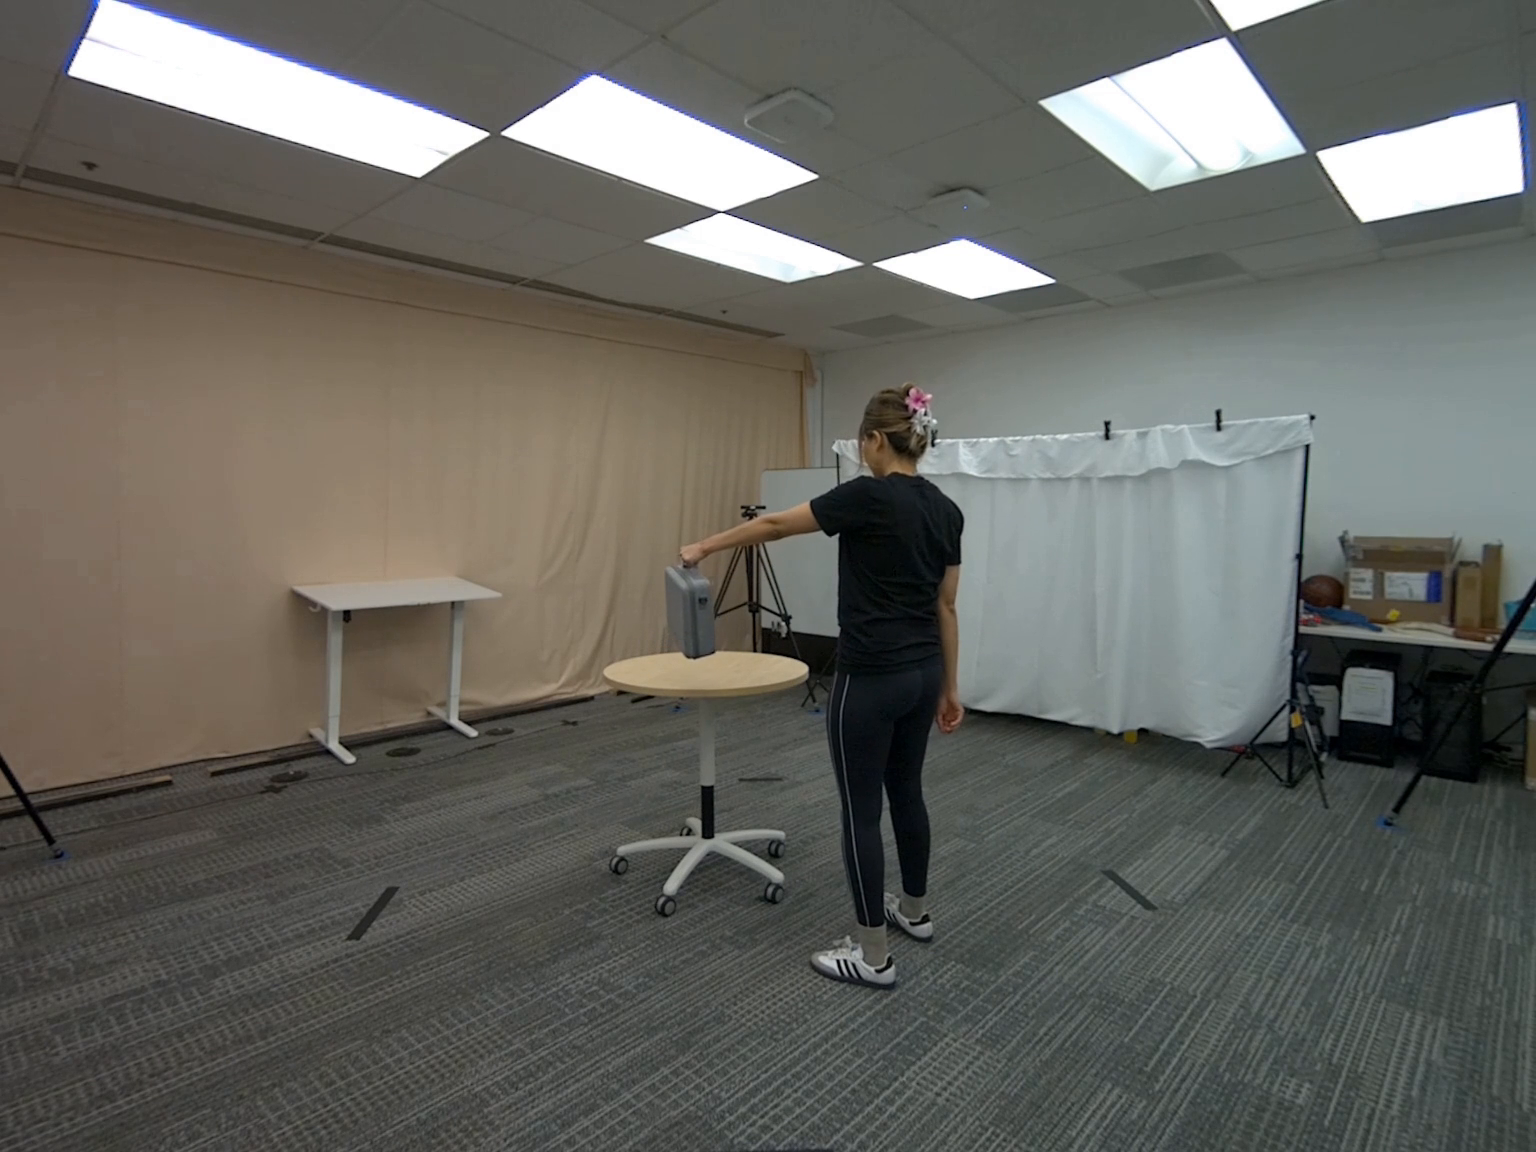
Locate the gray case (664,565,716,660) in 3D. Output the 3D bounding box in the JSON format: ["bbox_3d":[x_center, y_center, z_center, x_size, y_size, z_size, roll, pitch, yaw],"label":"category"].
[{"bbox_3d":[-0.251,0.106,2.705,0.102,0.258,0.263,-5,17,-17],"label":"gray case"}]
